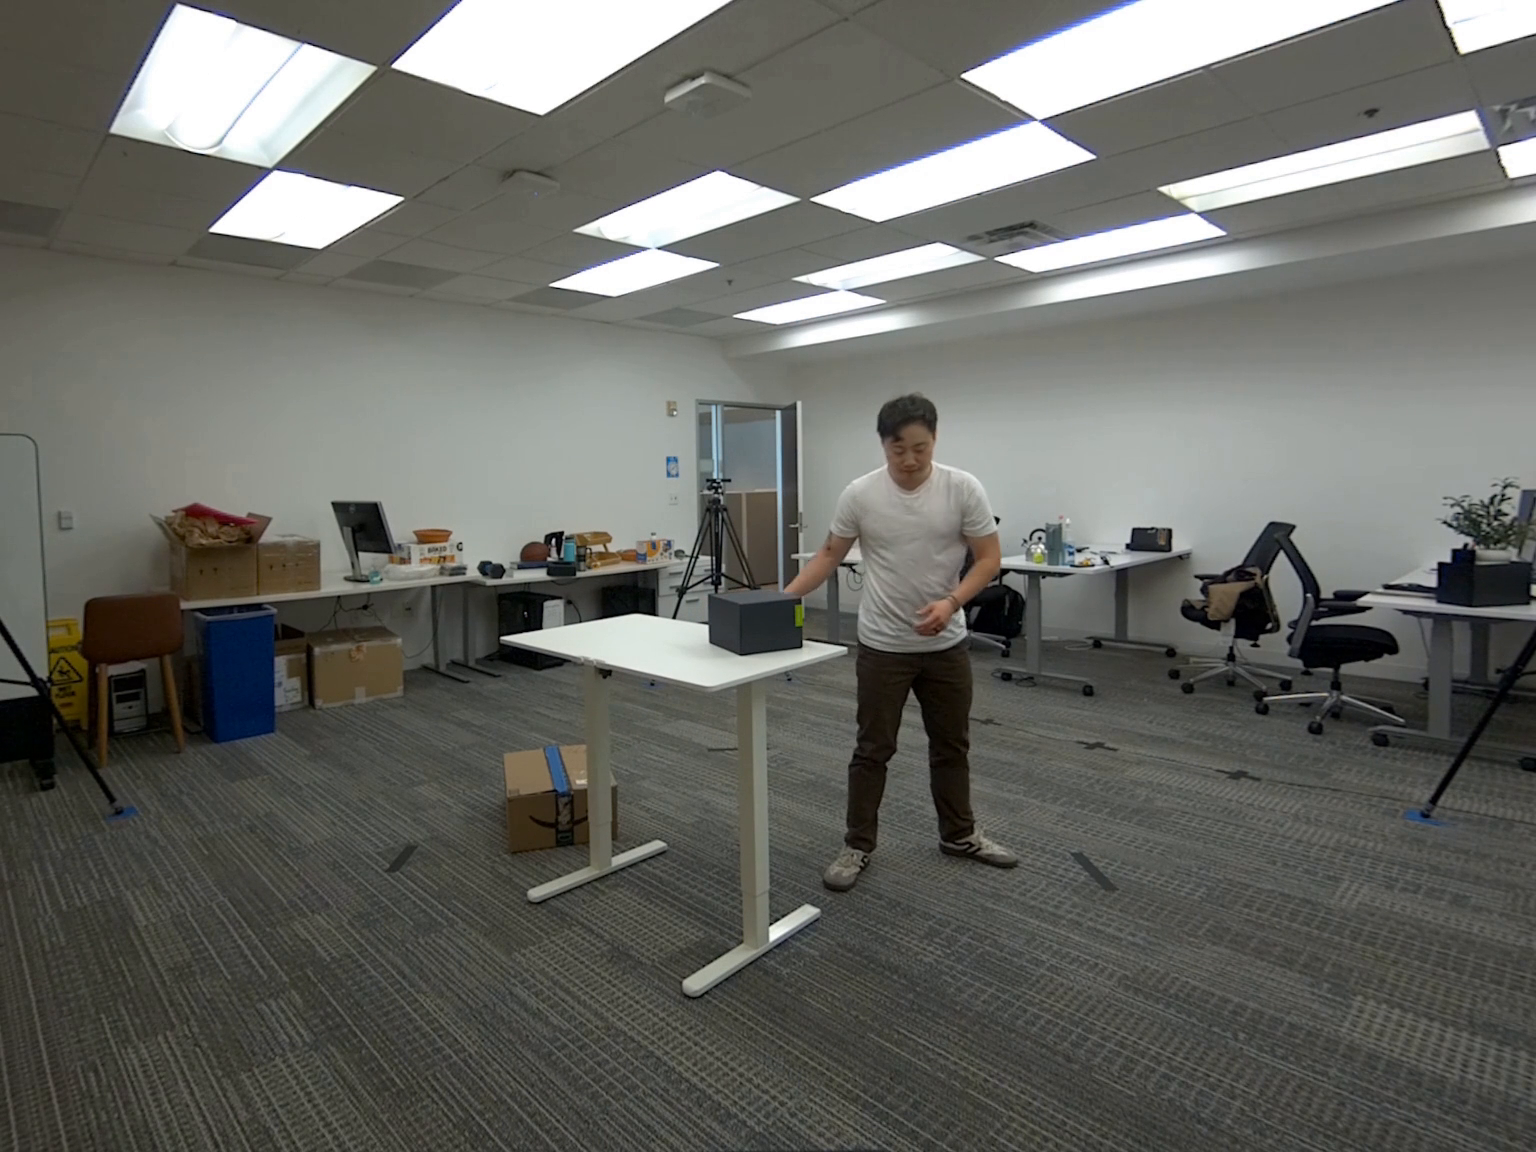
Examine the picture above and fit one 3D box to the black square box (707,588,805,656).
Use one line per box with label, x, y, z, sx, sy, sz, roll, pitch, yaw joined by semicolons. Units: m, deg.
black square box;-0.042;0.139;2.640;0.212;0.155;0.234;-4;7;-27
